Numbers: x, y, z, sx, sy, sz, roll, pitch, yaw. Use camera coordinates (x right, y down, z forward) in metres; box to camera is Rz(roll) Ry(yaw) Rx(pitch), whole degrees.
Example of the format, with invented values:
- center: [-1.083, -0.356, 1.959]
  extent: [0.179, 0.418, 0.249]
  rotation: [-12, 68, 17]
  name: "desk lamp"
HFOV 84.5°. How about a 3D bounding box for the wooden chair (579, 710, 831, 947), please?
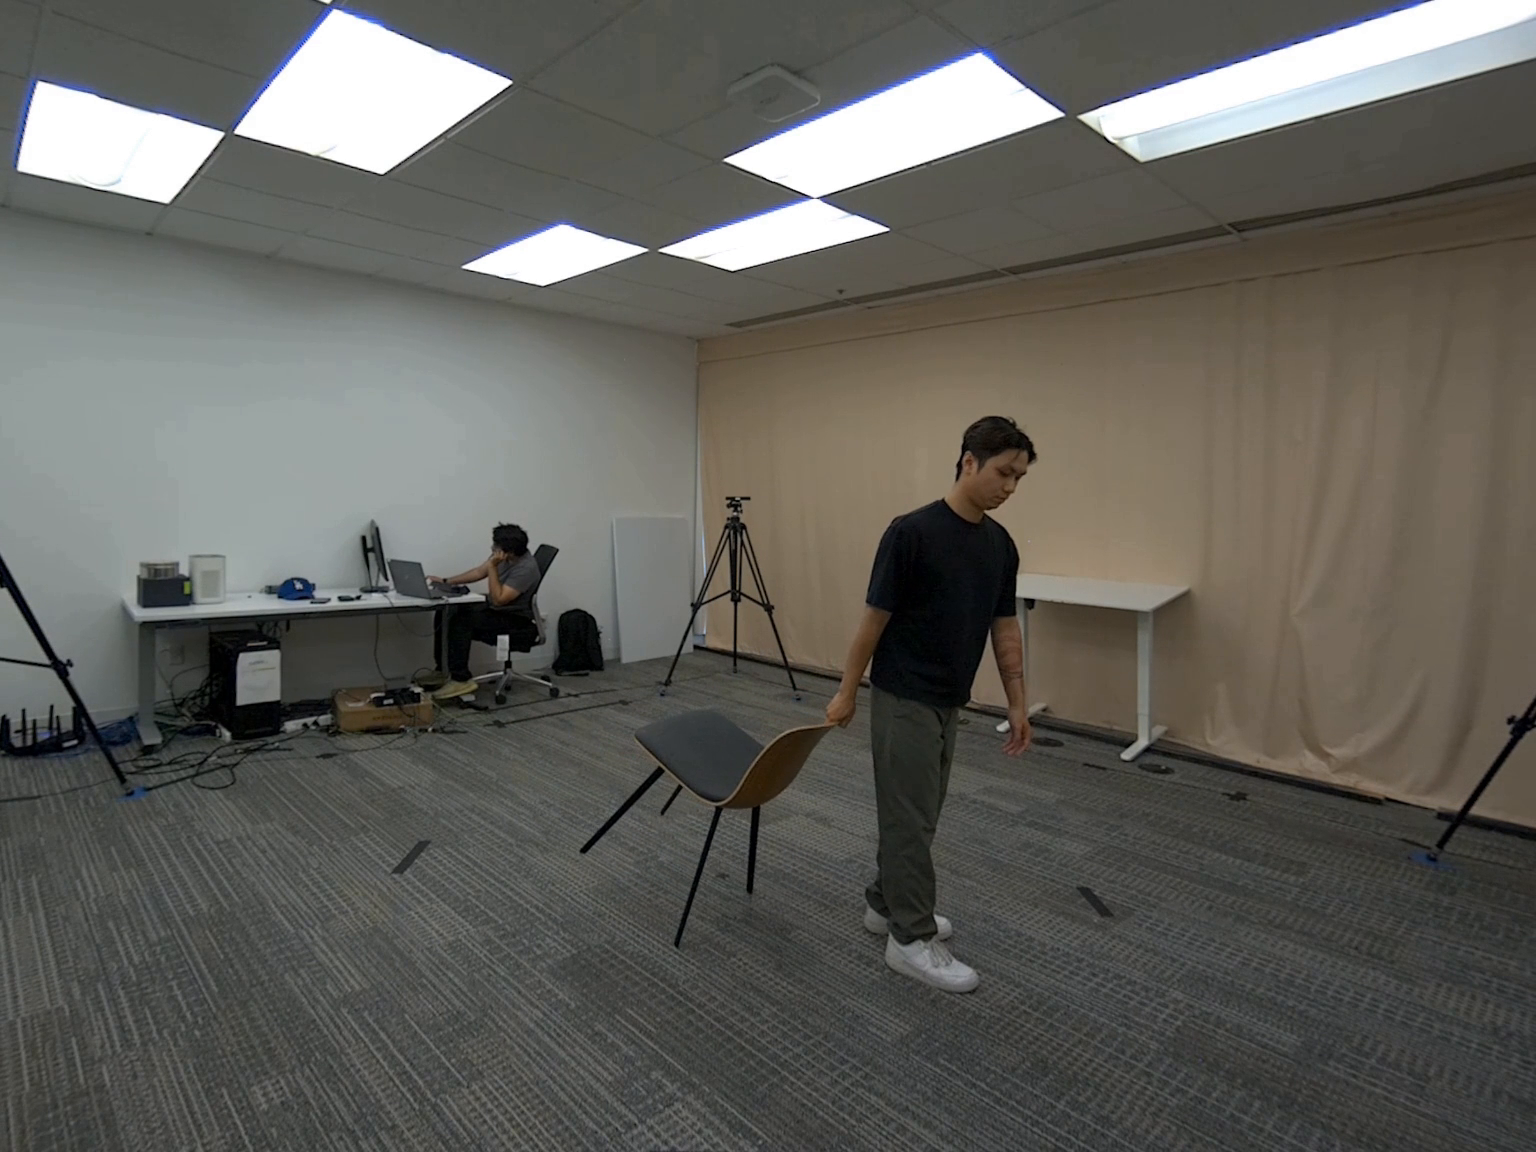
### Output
- center: [-0.177, 0.647, 2.765]
  extent: [0.537, 0.873, 0.468]
  rotation: [38, 22, 25]
  name: "wooden chair"
